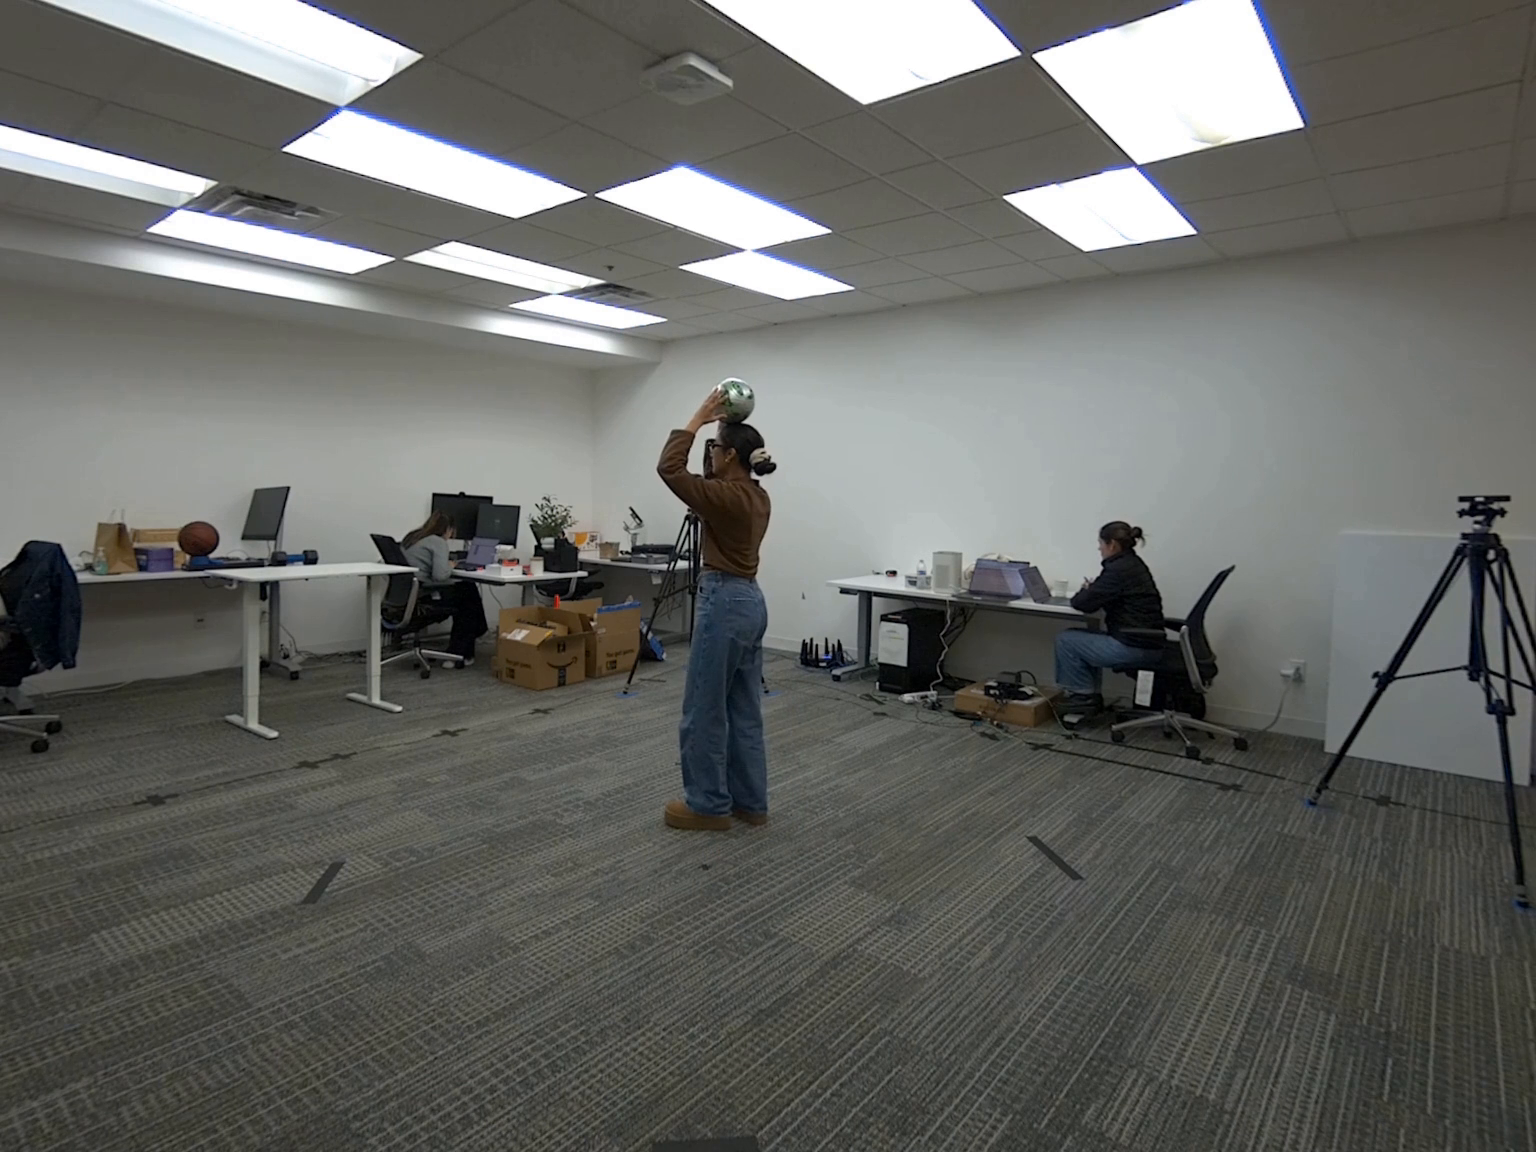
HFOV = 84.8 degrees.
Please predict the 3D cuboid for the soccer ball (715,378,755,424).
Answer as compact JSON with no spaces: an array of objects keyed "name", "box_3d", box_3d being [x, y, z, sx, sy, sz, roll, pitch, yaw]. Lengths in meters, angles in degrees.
[{"name":"soccer ball","box_3d":[-0.157,-0.715,3.474,0.187,0.187,0.188,1,4,-2]}]
